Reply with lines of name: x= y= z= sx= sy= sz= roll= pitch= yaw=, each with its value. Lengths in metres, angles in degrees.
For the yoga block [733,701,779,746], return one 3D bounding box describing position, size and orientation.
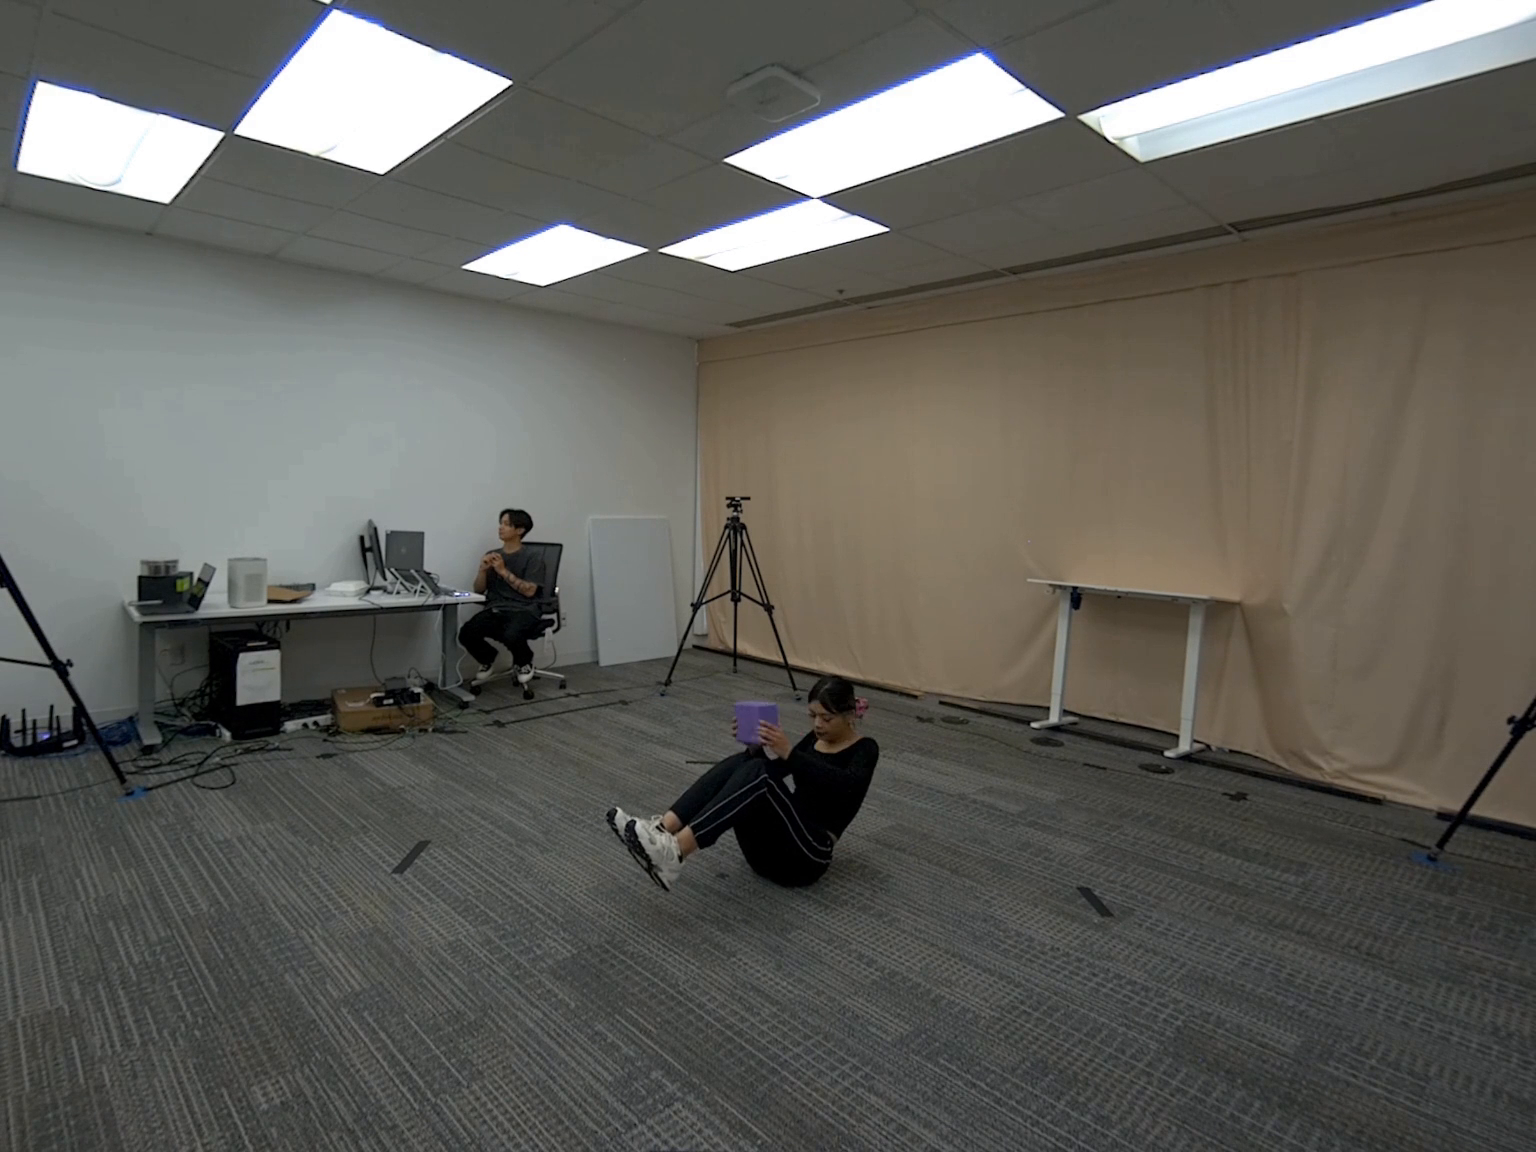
yoga block: x=-0.036 y=0.552 z=3.149 sx=0.075 sy=0.149 sz=0.232 roll=-4 pitch=-3 yaw=-21
